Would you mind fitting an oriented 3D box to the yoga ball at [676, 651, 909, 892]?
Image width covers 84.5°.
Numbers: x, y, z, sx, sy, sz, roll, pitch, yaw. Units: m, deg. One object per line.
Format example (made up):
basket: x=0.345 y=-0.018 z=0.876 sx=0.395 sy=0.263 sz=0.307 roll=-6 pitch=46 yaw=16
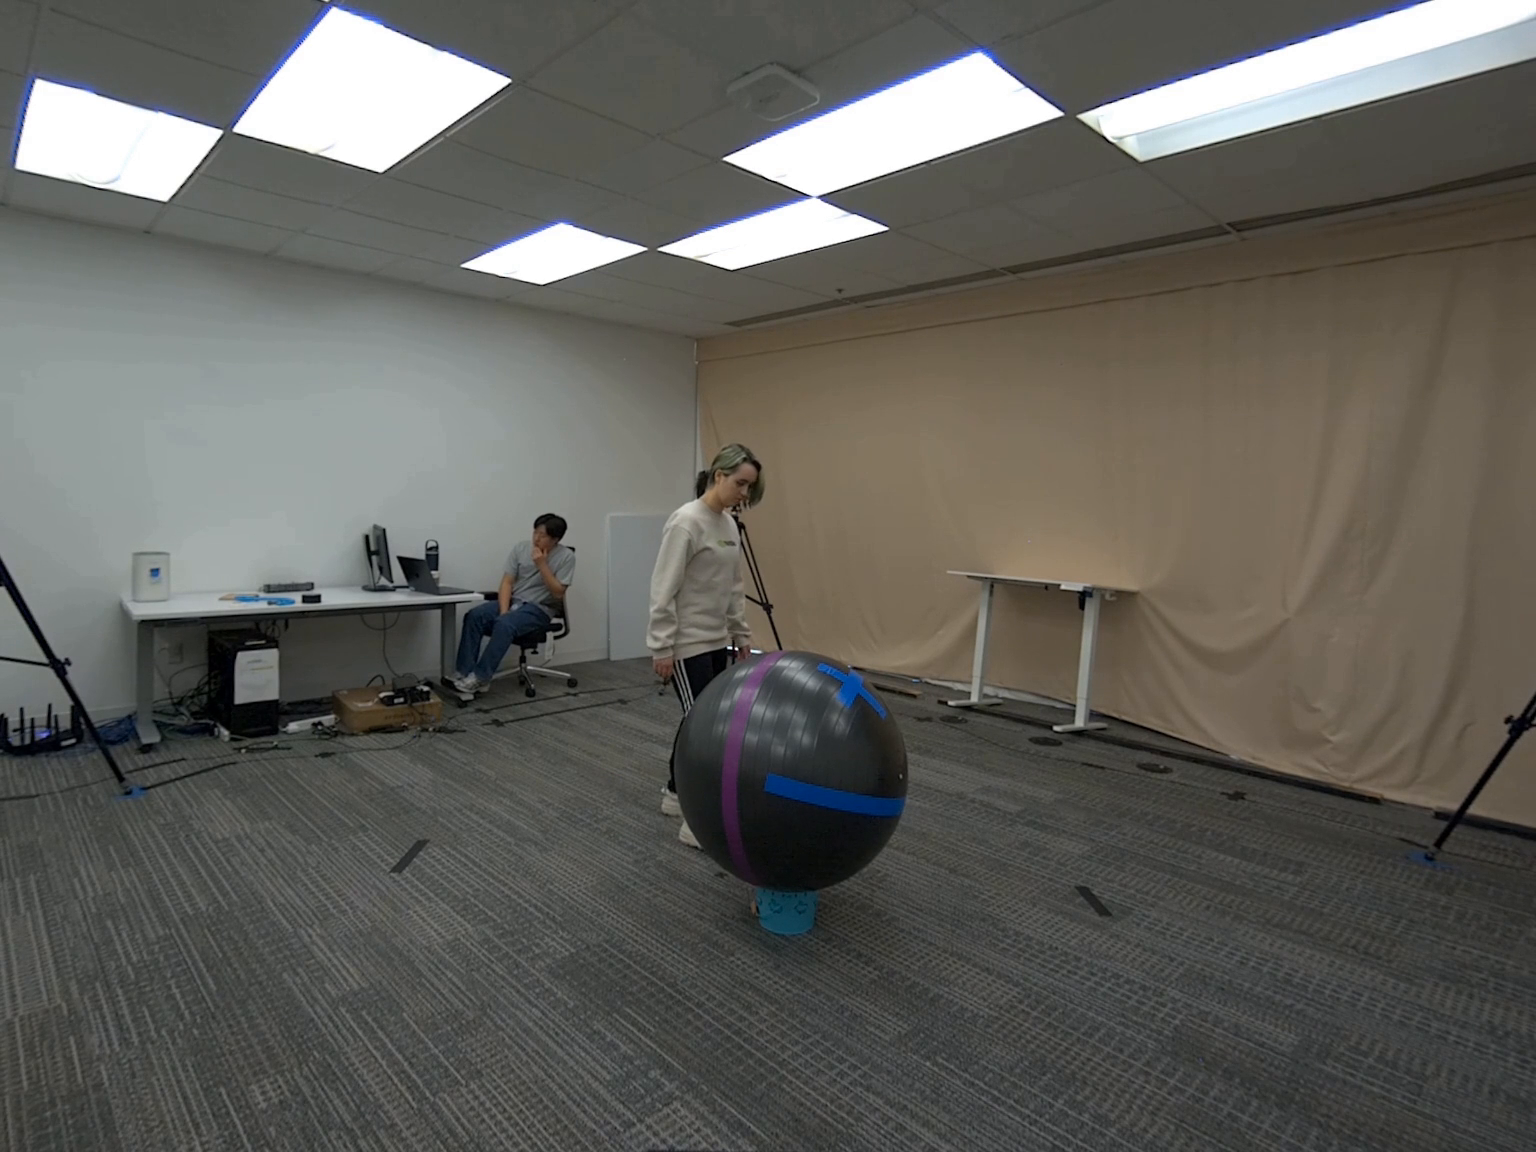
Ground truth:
yoga ball: x=0.067 y=0.625 z=2.755 sx=0.757 sy=0.756 sz=0.761 roll=1 pitch=4 yaw=-1
